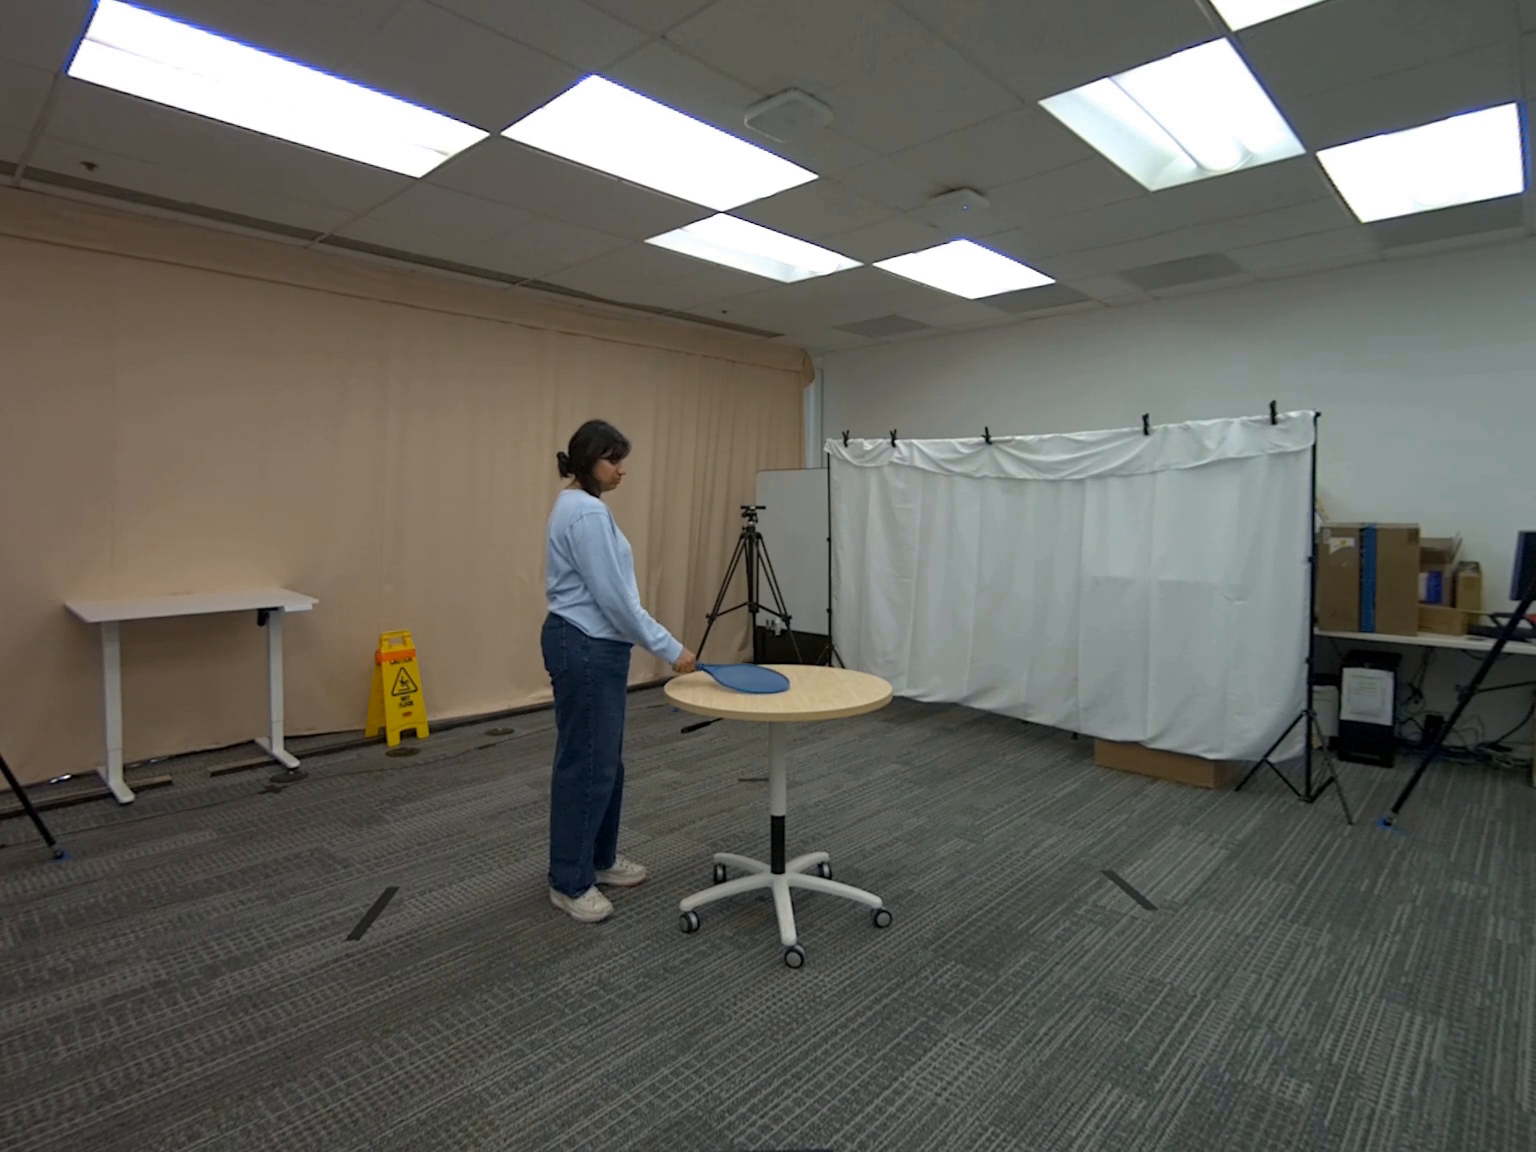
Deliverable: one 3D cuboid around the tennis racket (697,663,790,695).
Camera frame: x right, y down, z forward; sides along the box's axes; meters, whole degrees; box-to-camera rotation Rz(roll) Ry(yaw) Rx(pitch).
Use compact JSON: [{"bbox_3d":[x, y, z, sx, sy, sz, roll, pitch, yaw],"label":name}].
[{"bbox_3d":[-0.125,0.335,2.847,0.444,0.031,0.210,11,17,24],"label":"tennis racket"}]
